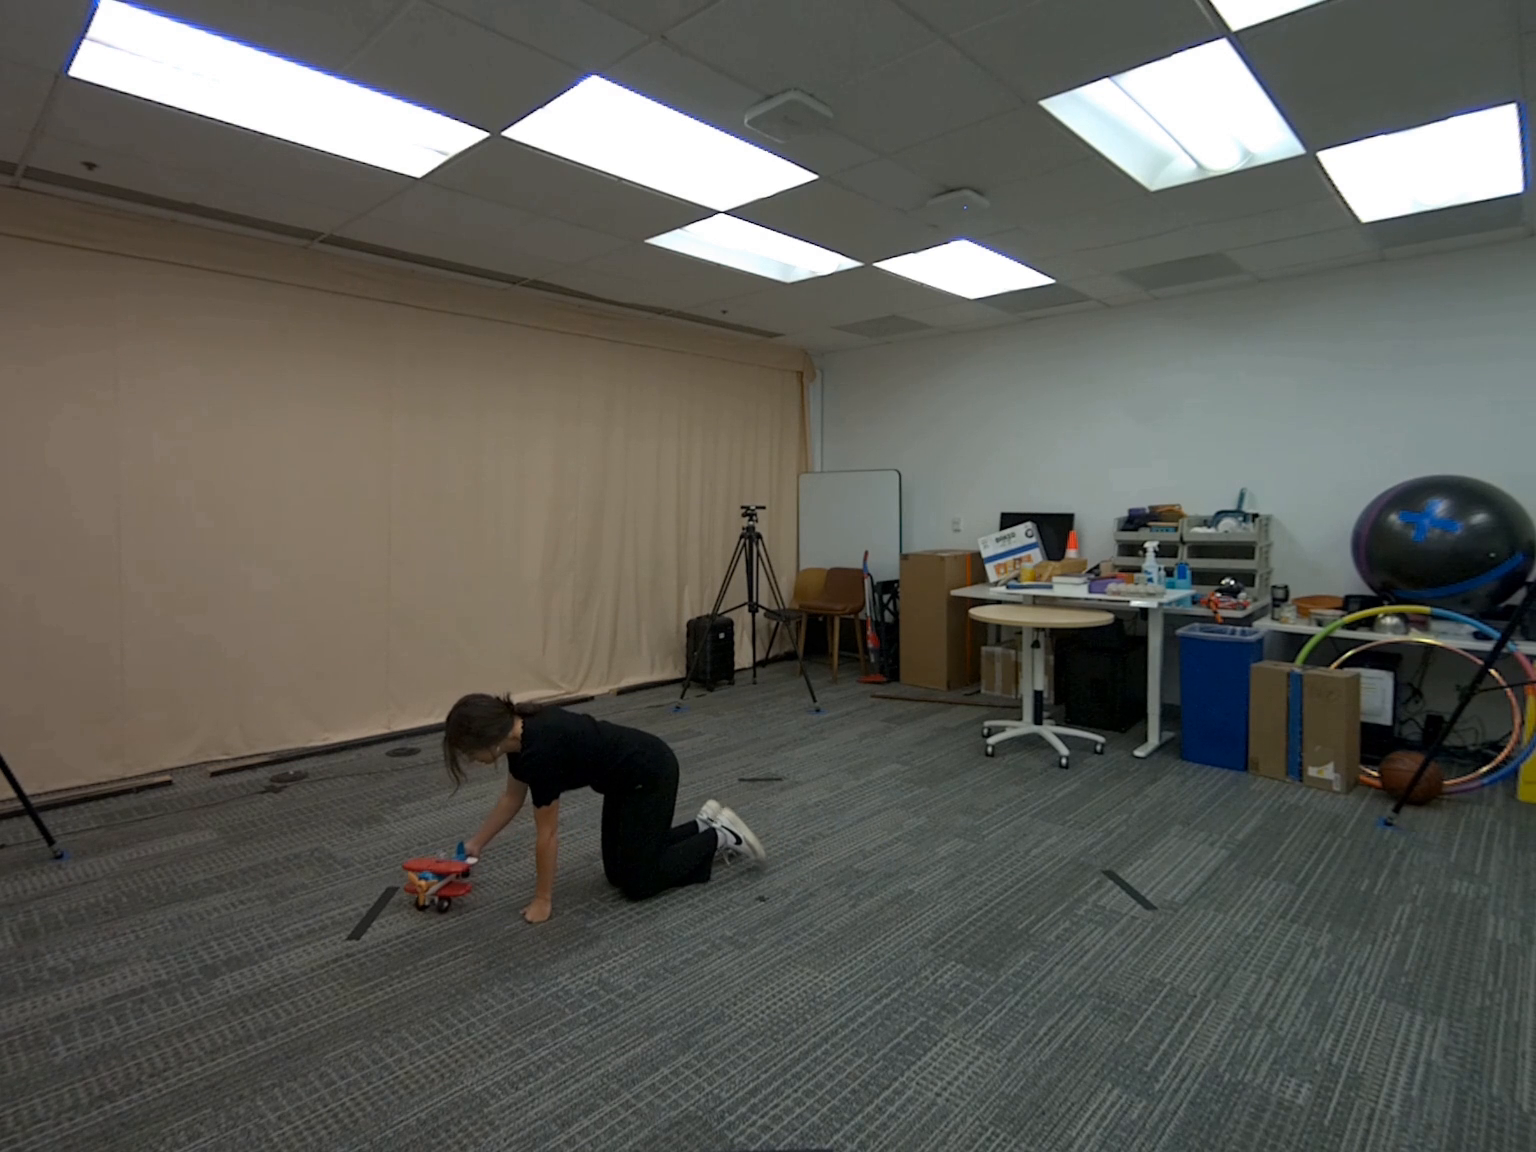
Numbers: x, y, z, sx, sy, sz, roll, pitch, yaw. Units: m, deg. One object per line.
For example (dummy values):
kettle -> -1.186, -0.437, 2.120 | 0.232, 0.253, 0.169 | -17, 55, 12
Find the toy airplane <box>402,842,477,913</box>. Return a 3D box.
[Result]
toy airplane -> -1.170, 1.071, 2.983 | 0.249, 0.154, 0.265 | -10, 18, -9
